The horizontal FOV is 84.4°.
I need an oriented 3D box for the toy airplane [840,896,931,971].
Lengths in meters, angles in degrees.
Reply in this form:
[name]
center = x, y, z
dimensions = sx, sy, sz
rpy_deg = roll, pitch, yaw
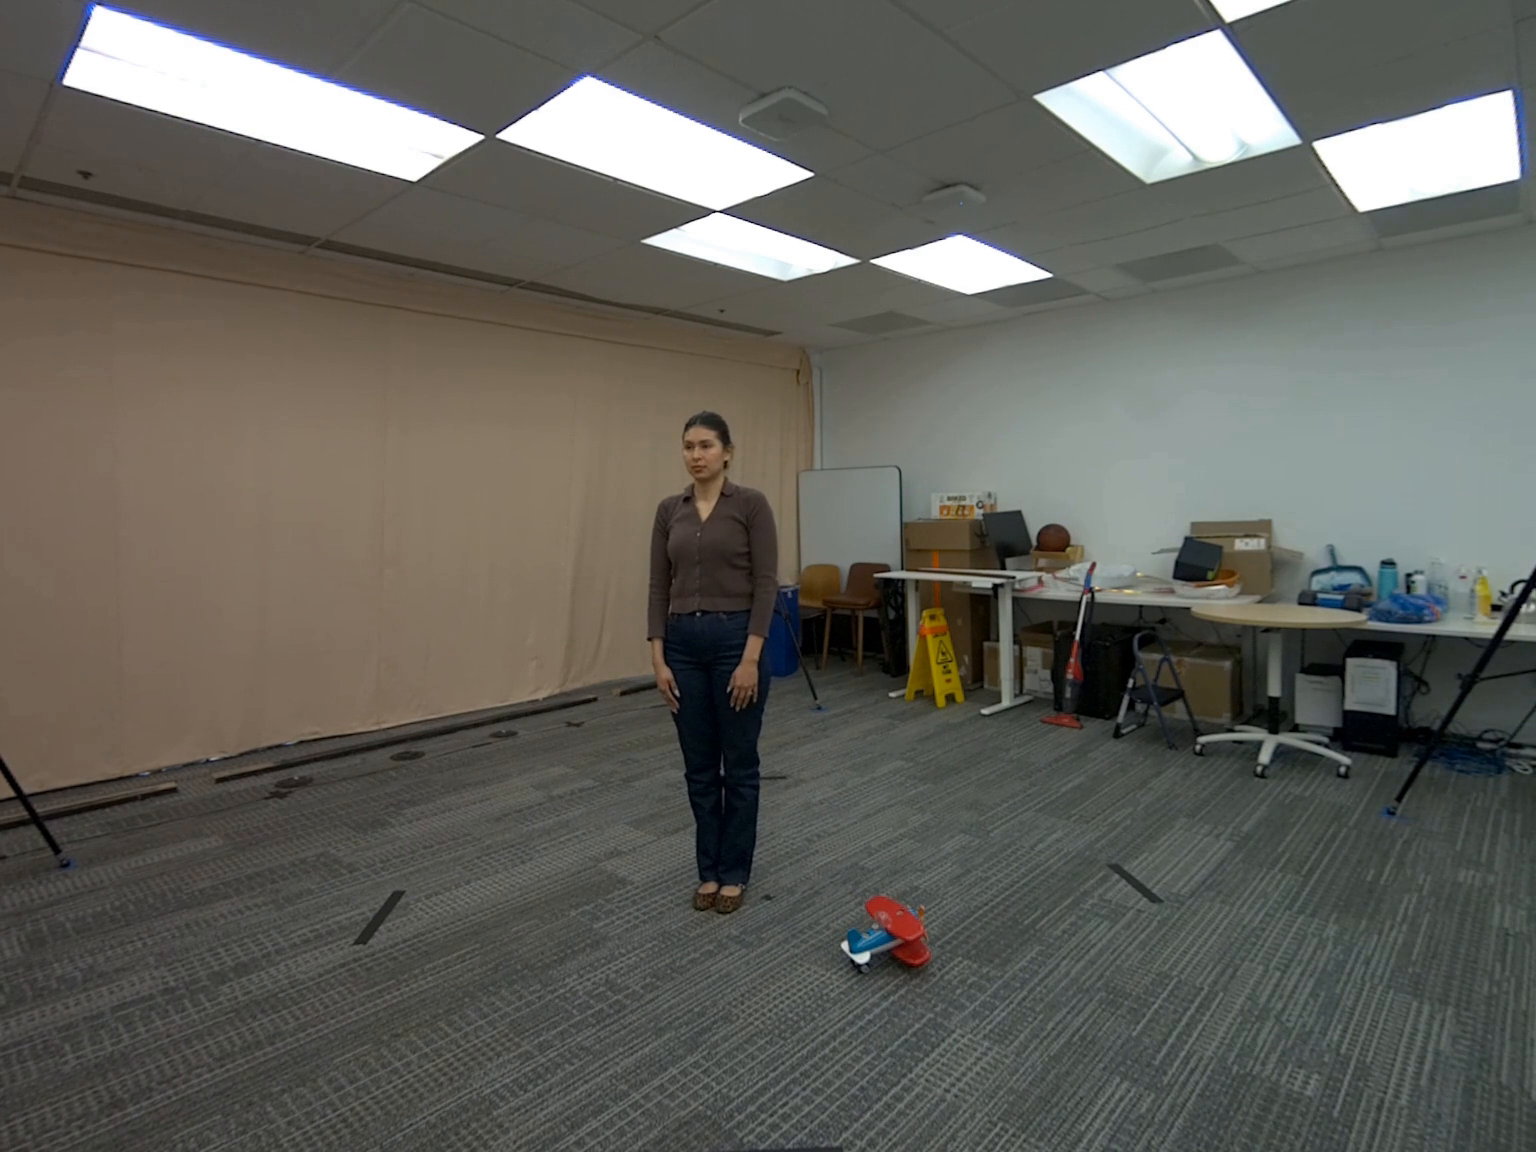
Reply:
[toy airplane]
center = 0.372, 1.098, 2.526
dimensions = 0.259, 0.156, 0.251
rpy_deg = 4, 5, 40
